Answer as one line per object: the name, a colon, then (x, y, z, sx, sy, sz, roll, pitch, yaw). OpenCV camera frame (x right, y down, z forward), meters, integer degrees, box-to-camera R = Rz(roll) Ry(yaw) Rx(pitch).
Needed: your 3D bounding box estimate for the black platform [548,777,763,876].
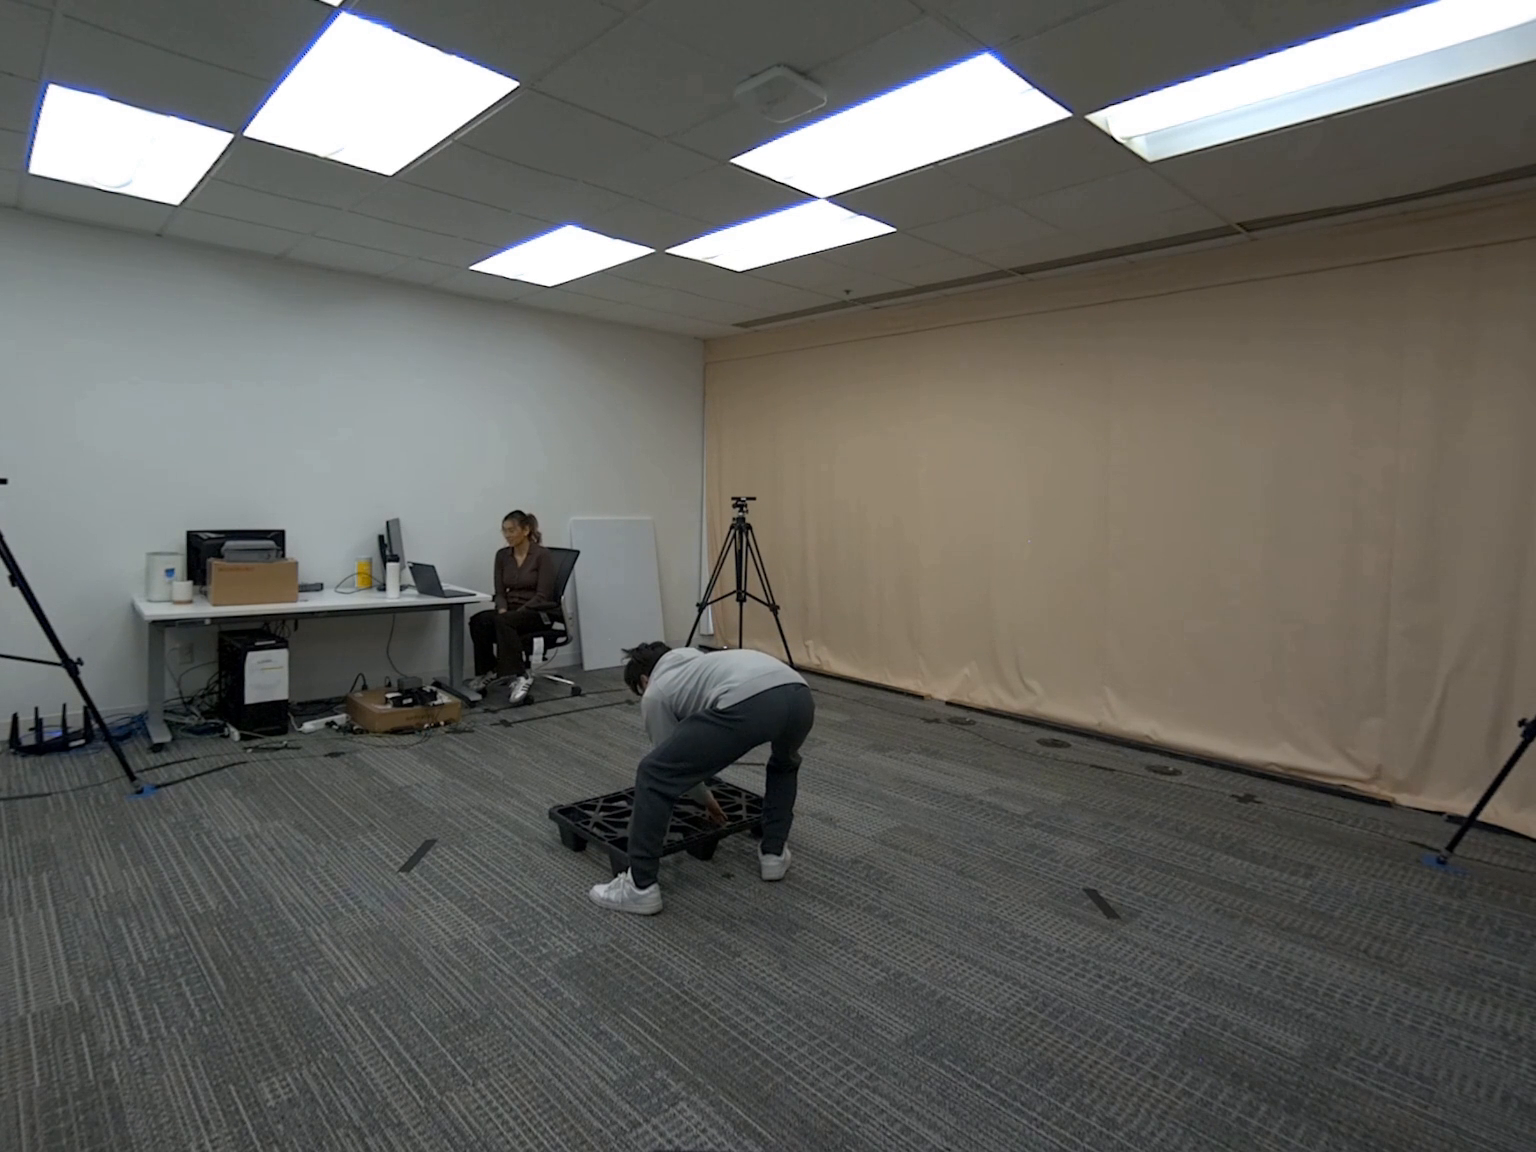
black platform: (-0.393, 1.007, 3.412, 0.787, 0.143, 0.621, -3, 7, -42)
